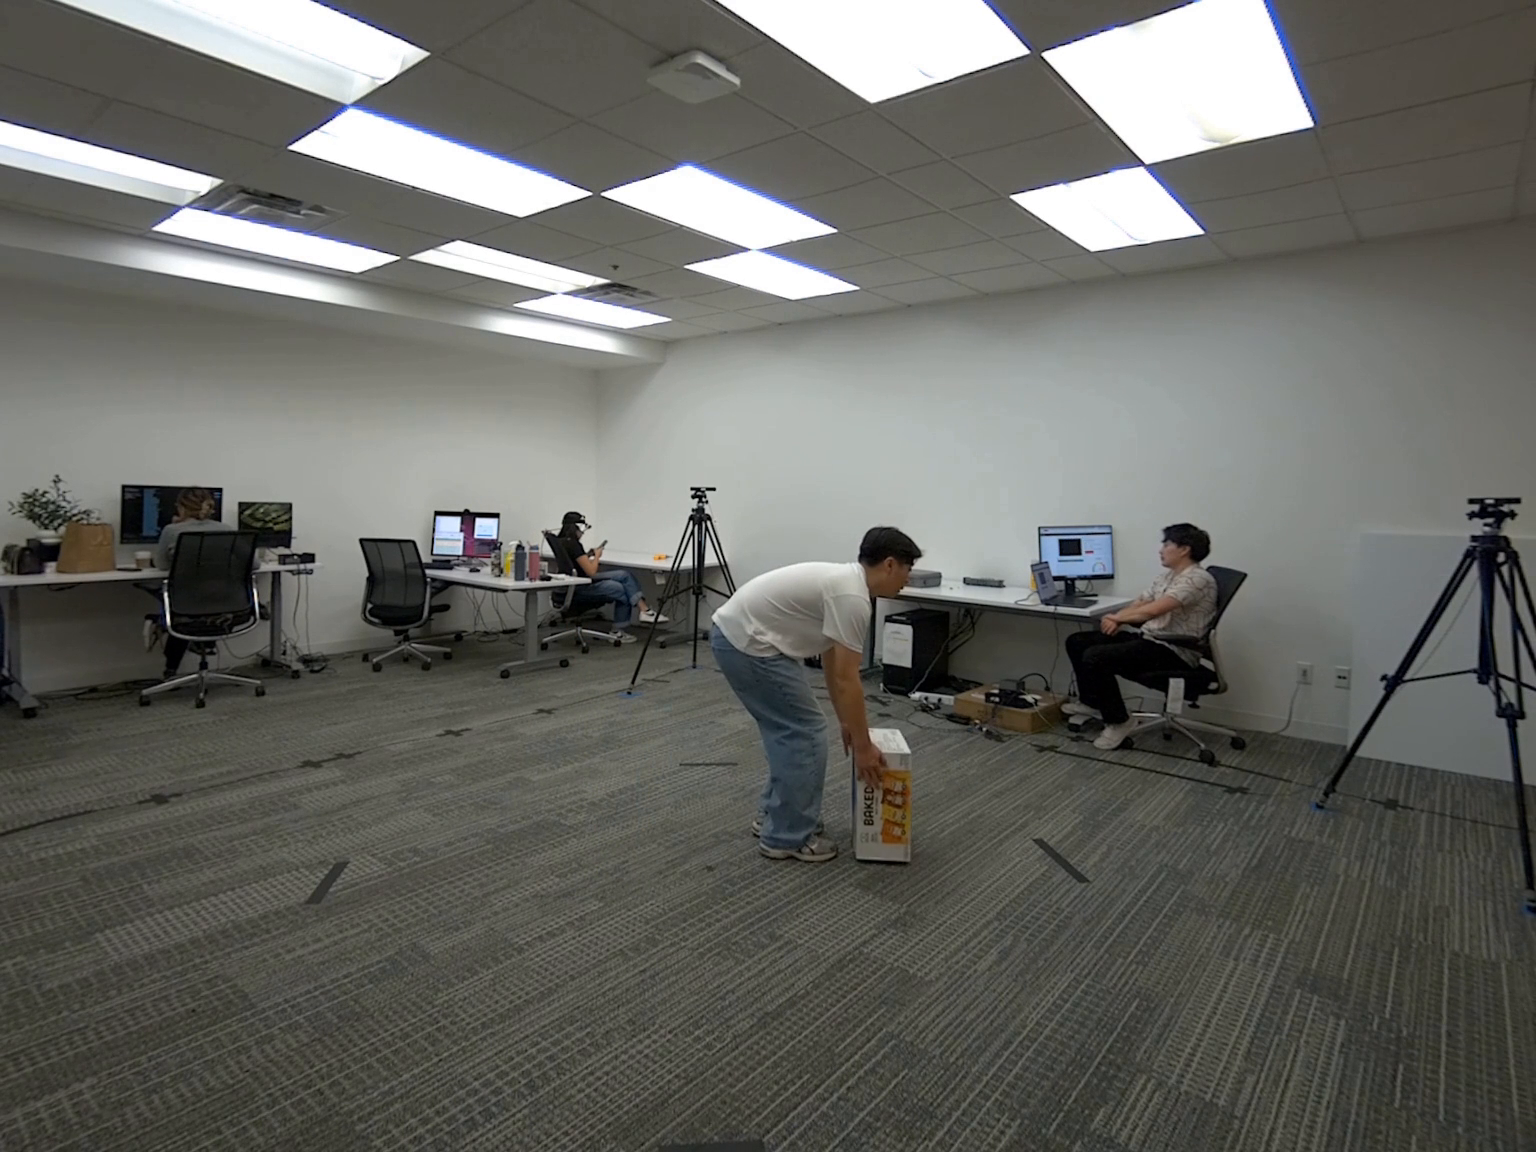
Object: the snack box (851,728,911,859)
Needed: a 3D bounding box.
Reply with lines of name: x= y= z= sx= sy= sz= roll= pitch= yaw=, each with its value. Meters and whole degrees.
snack box: x=0.431 y=0.817 z=3.337 sx=0.206 sy=0.404 sz=0.340 roll=0 pitch=3 yaw=1
